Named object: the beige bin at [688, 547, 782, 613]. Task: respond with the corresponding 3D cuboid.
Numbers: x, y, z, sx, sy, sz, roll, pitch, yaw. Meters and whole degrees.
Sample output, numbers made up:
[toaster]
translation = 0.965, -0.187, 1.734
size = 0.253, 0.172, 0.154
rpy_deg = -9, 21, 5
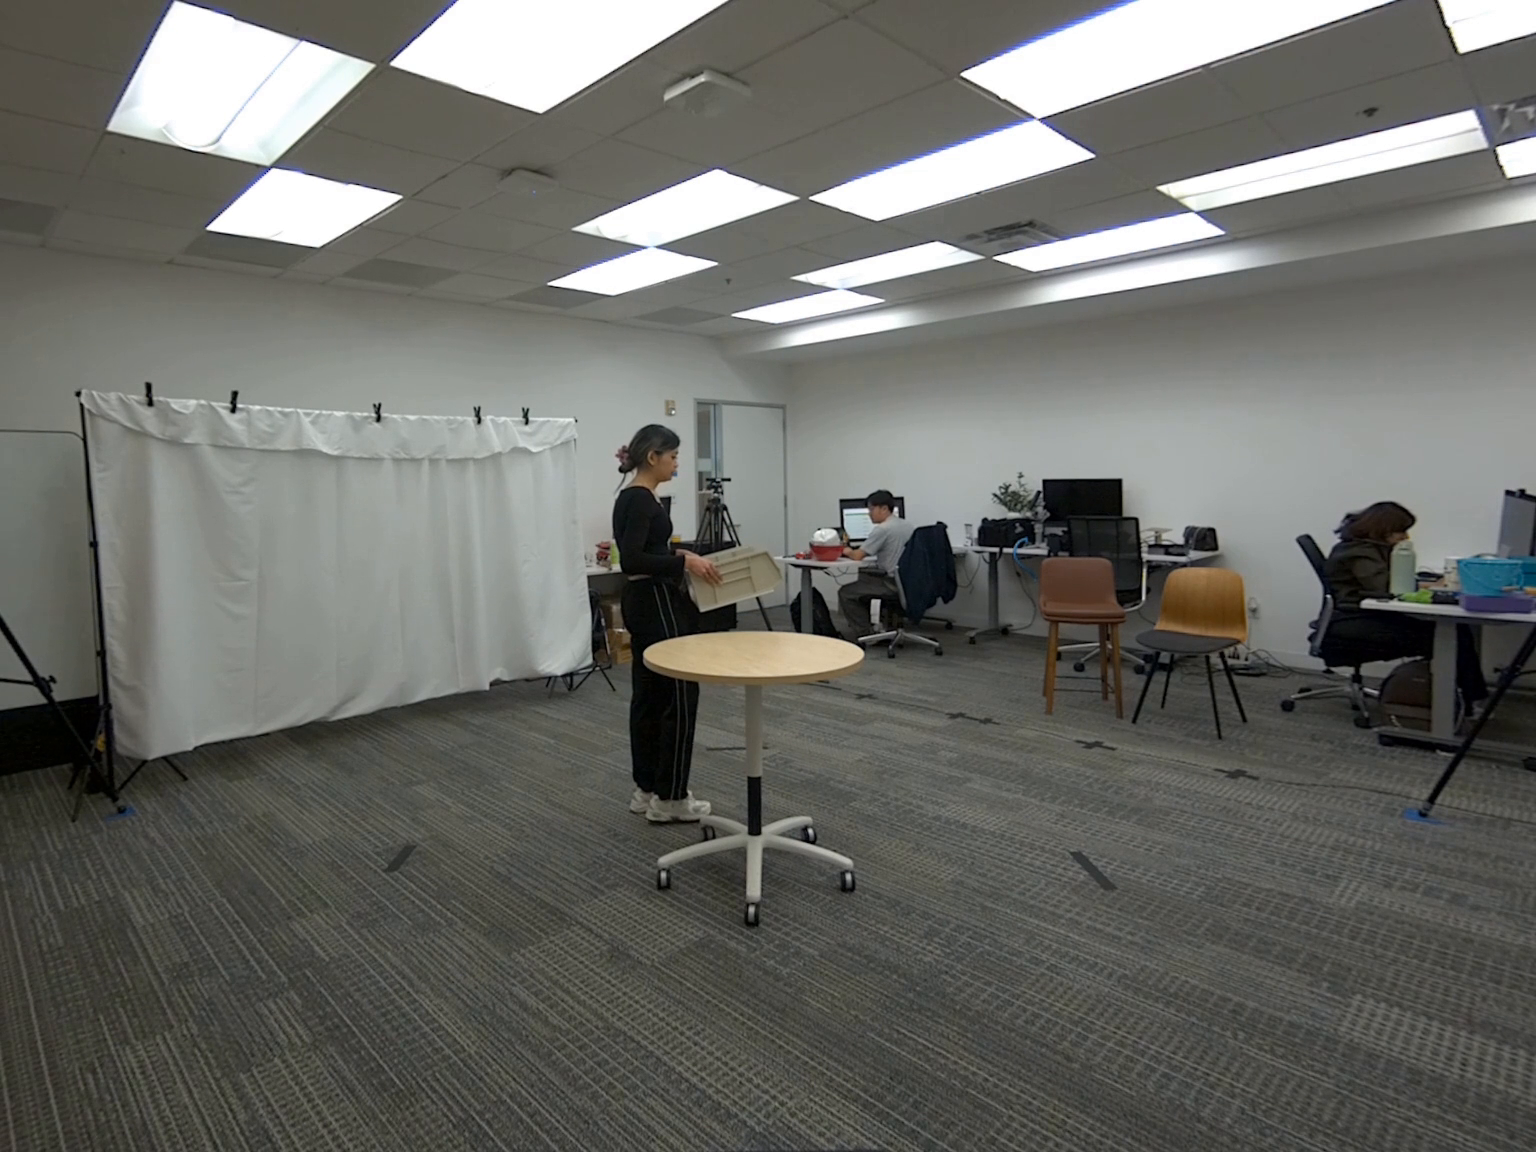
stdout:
[beige bin]
translation = -0.162, 0.006, 3.662
size = 0.375, 0.188, 0.427
rpy_deg = -16, 6, -8
